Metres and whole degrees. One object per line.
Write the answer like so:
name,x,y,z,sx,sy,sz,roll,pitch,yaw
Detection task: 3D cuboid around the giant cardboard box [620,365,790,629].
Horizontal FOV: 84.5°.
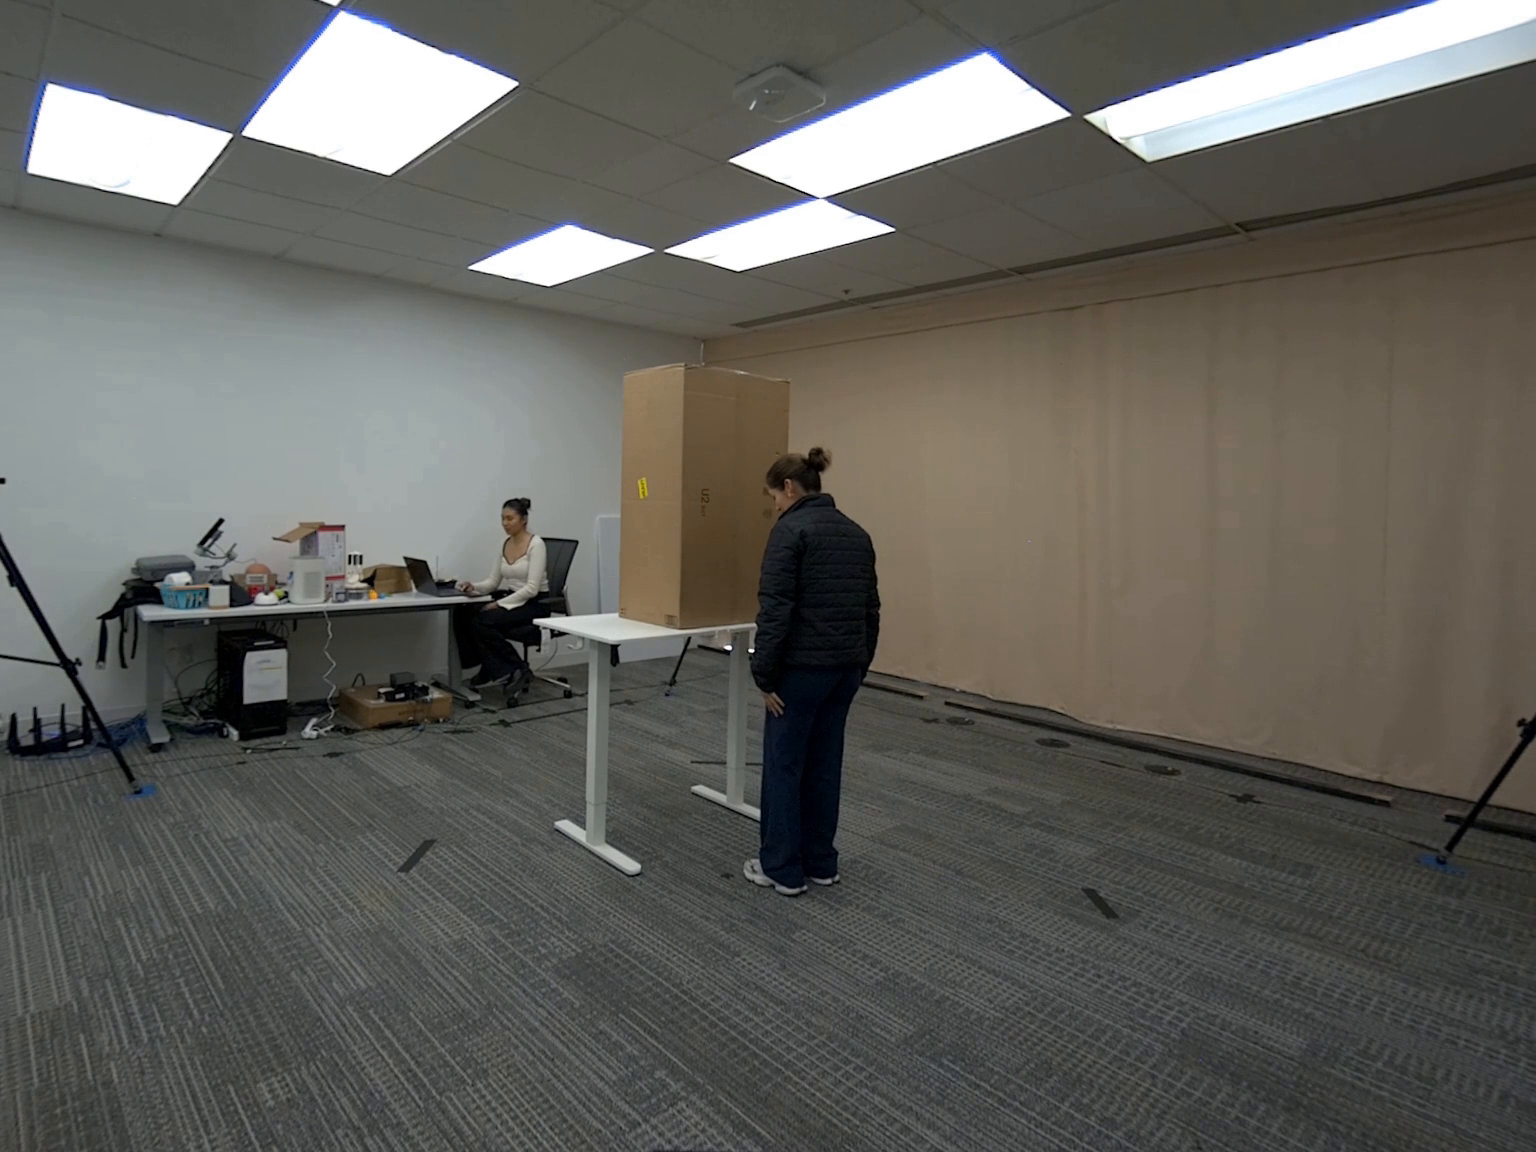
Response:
giant cardboard box,-0.273,-0.326,3.549,0.570,1.025,0.458,-1,3,-41
